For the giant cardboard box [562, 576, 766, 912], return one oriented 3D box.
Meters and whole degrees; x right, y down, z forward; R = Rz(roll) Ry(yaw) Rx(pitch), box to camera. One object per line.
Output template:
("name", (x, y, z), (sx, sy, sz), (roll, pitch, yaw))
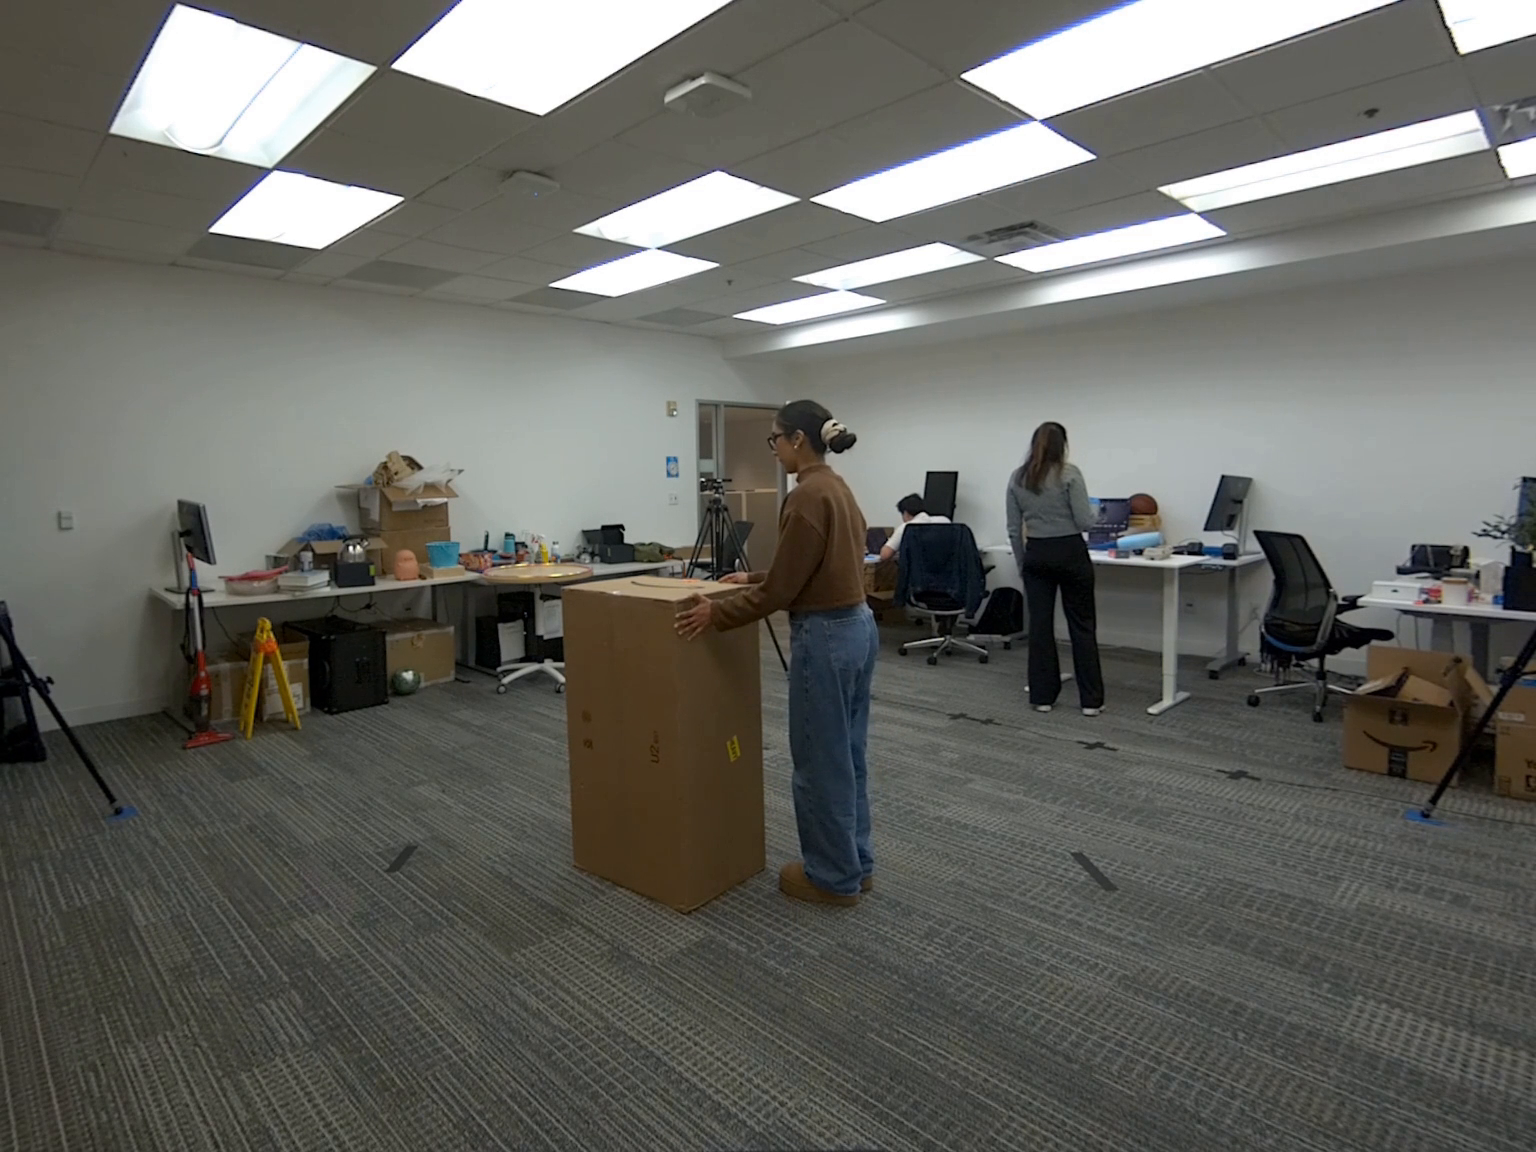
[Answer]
("giant cardboard box", (-0.371, 0.546, 3.059), (0.595, 1.021, 0.415), (3, 6, 40))
